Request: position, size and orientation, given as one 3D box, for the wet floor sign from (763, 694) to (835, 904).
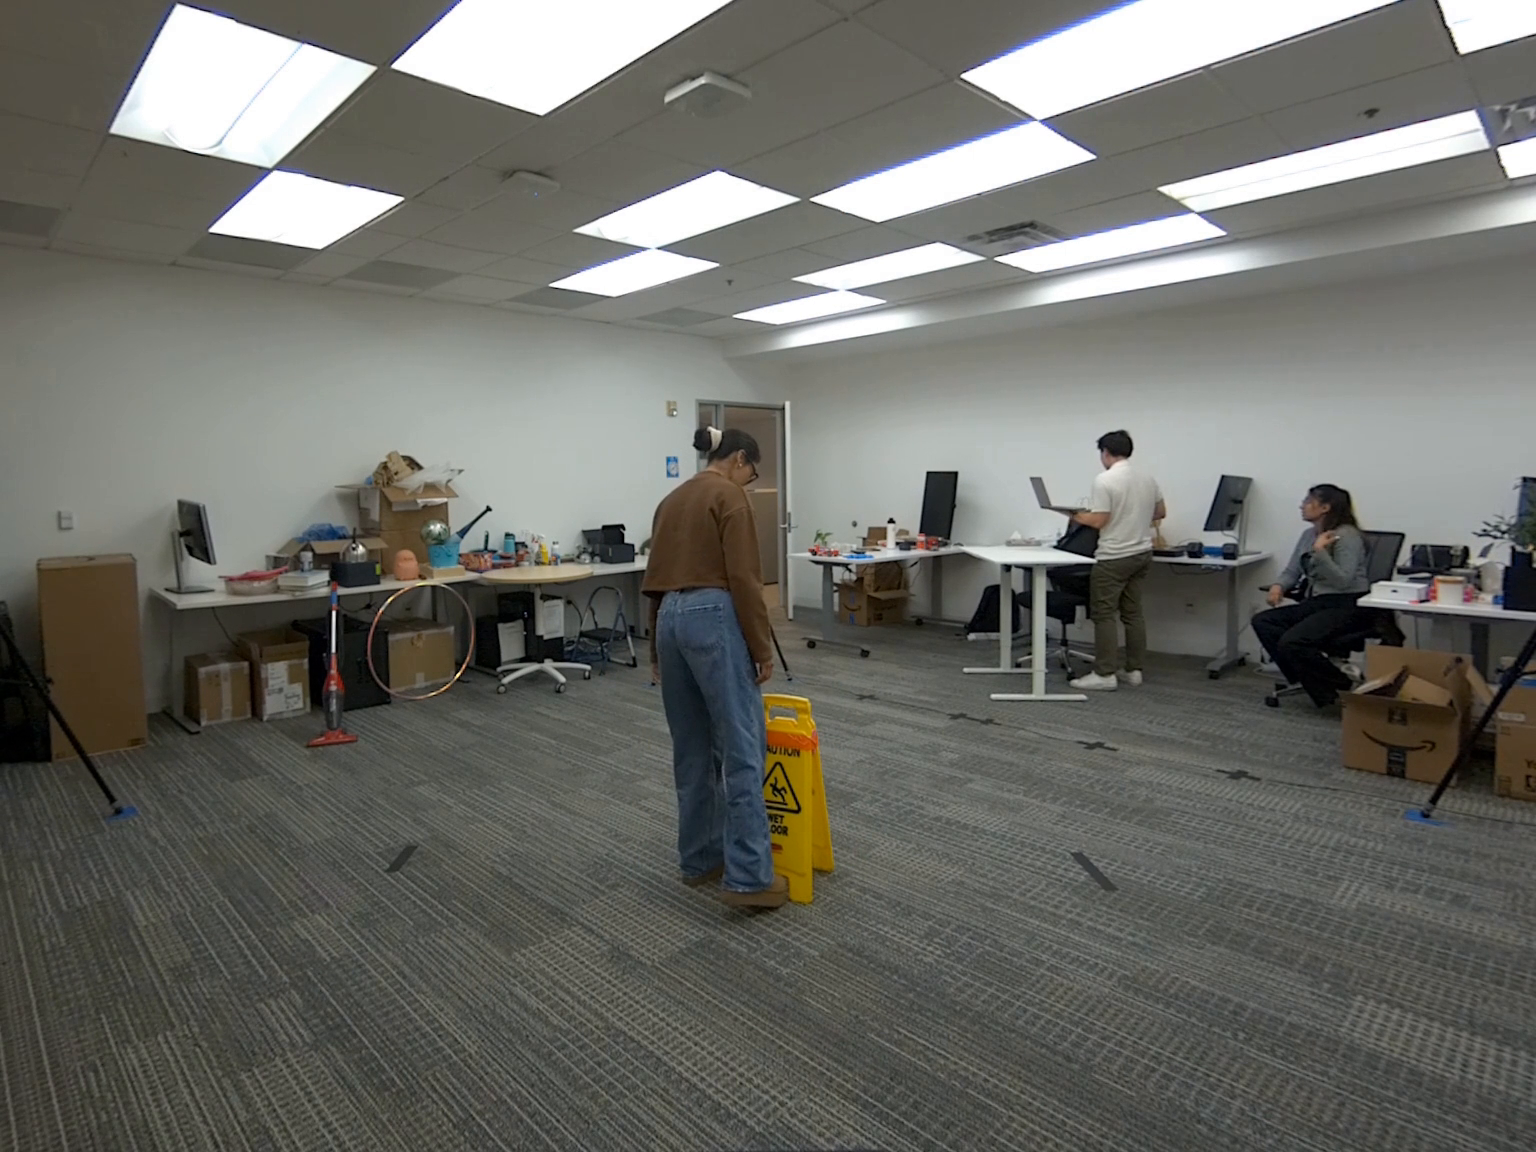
[{"bbox_3d":[0.059,0.734,2.954,0.288,0.644,0.285,0,4,21],"label":"wet floor sign"}]
